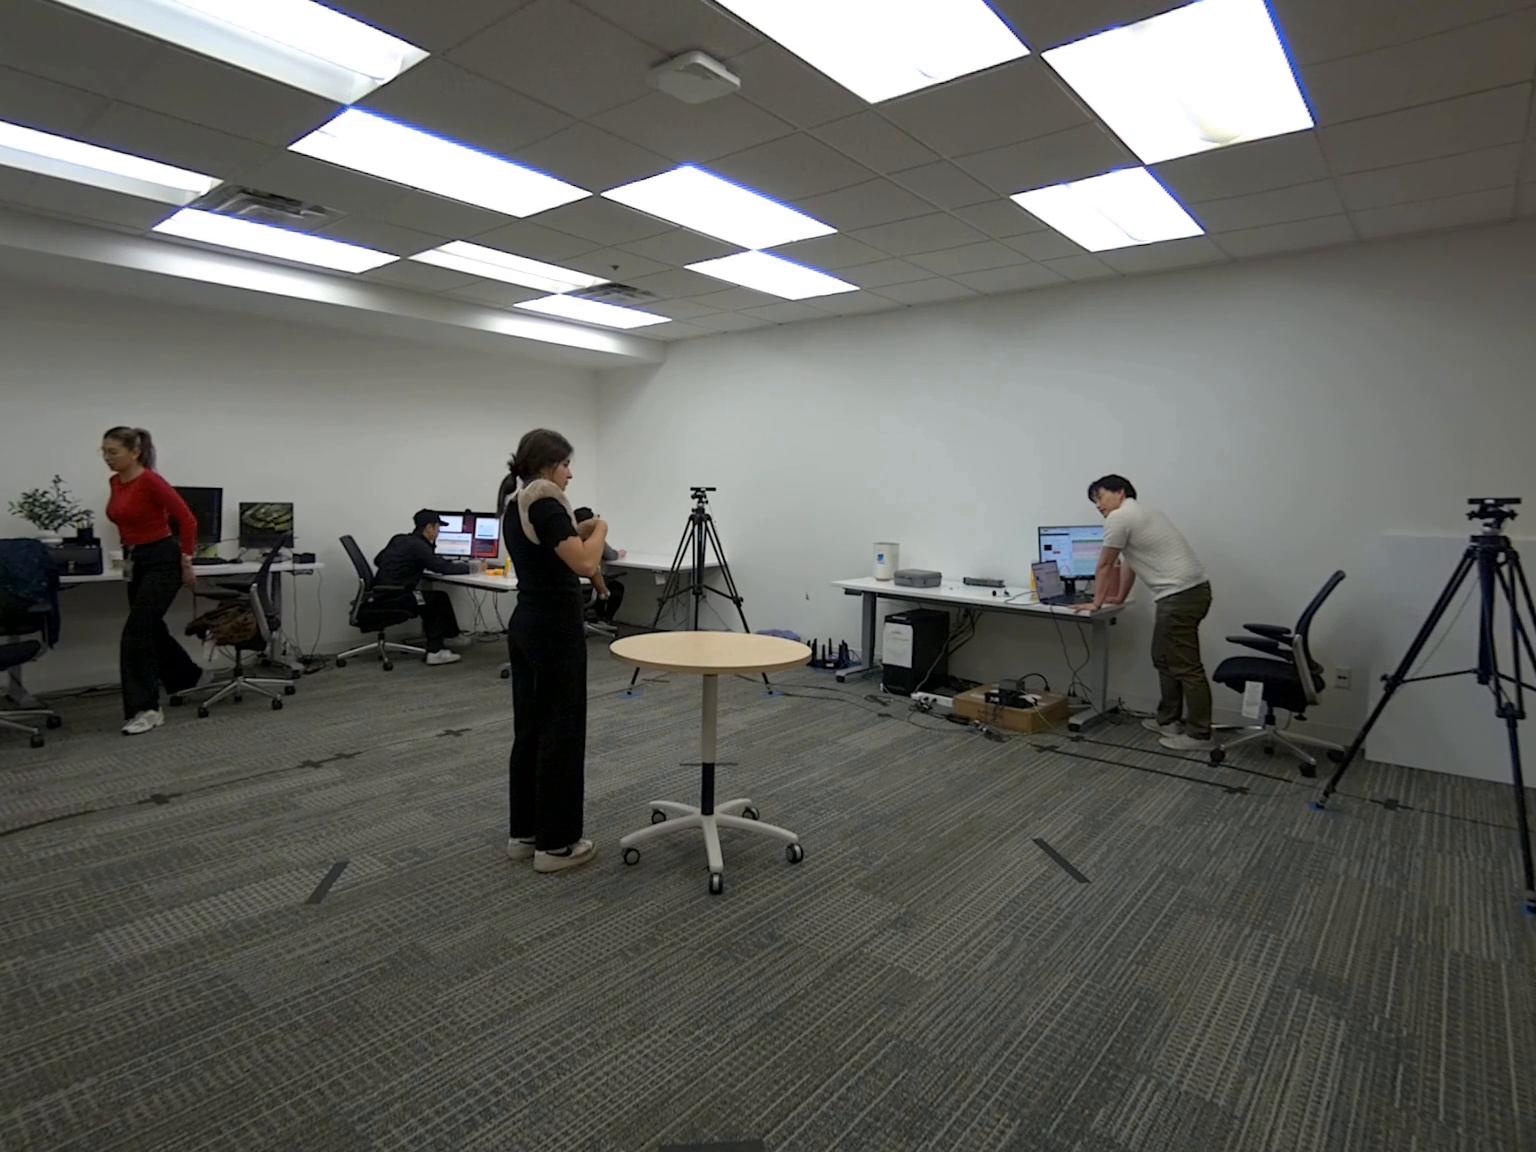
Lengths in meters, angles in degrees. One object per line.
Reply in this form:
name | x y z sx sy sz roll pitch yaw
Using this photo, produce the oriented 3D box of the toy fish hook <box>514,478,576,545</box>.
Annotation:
toy fish hook | -0.746 -0.111 3.051 0.049 0.499 0.223 -15 18 50
